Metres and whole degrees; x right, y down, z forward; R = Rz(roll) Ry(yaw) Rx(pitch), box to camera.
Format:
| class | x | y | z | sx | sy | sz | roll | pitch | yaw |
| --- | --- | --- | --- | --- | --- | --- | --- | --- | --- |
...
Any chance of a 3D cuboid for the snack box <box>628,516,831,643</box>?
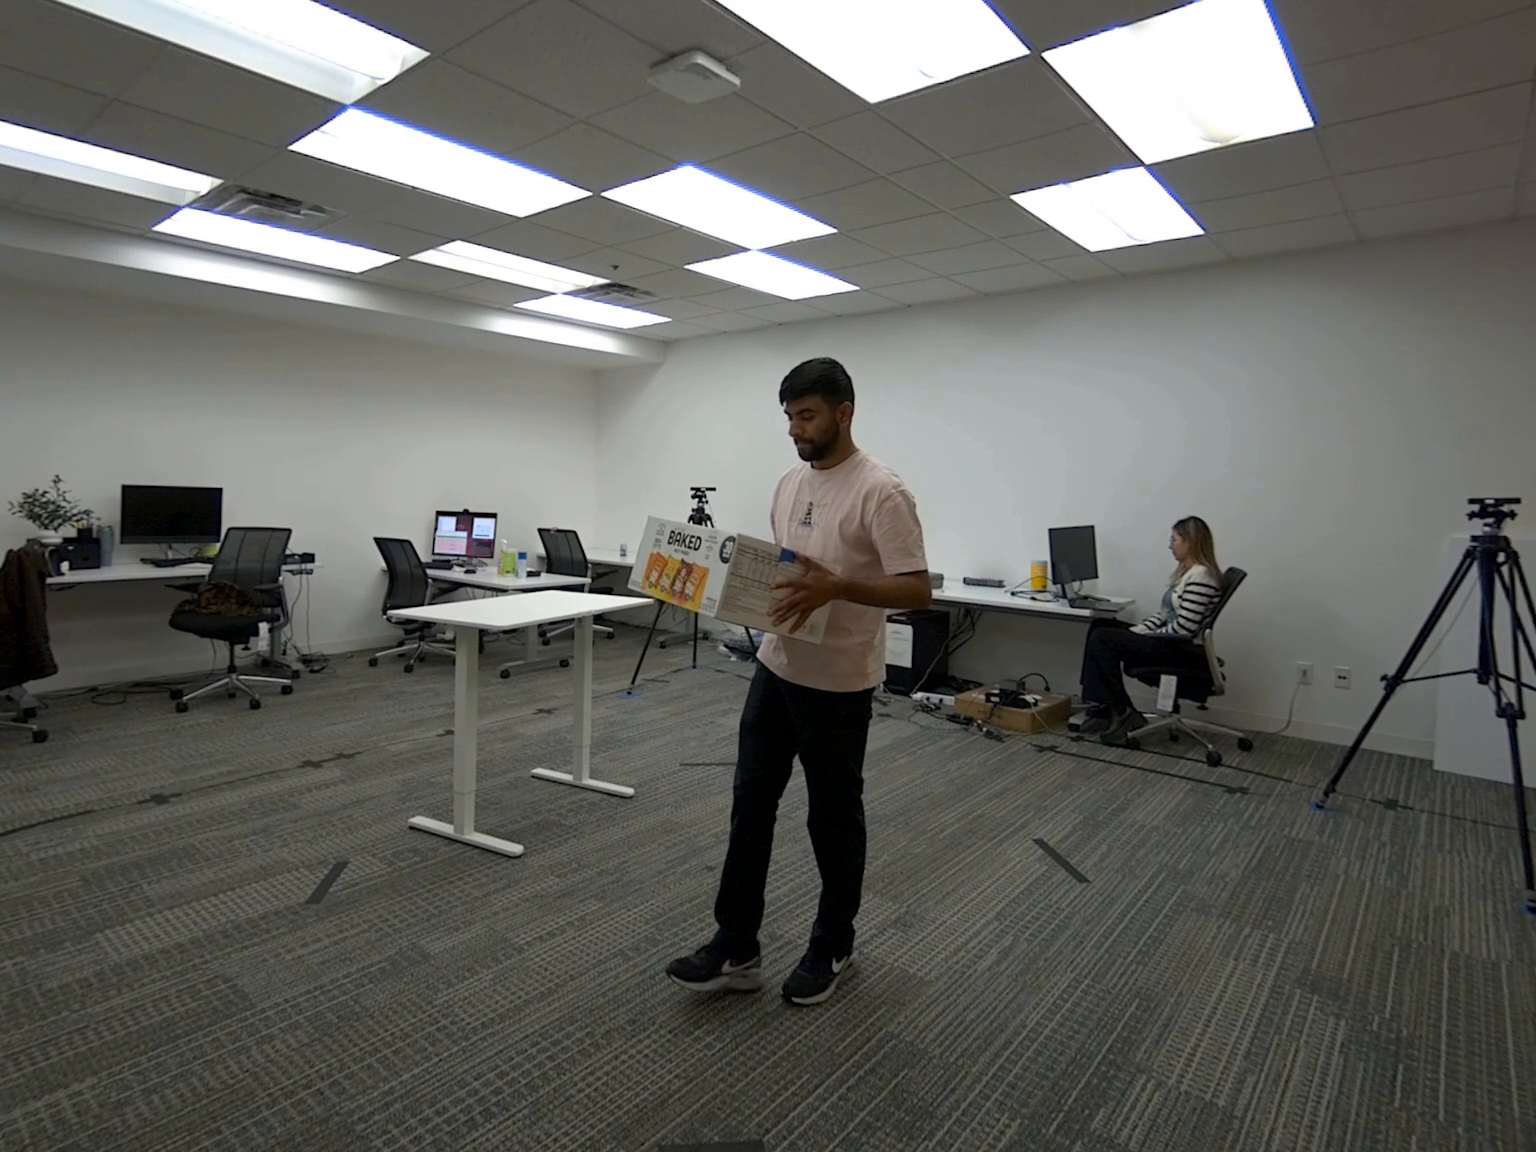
| class | x | y | z | sx | sy | sz | roll | pitch | yaw |
| --- | --- | --- | --- | --- | --- | --- | --- | --- | --- |
| snack box | -0.101 | 0.004 | 2.177 | 0.328 | 0.206 | 0.420 | 16 | -1 | -39 |
